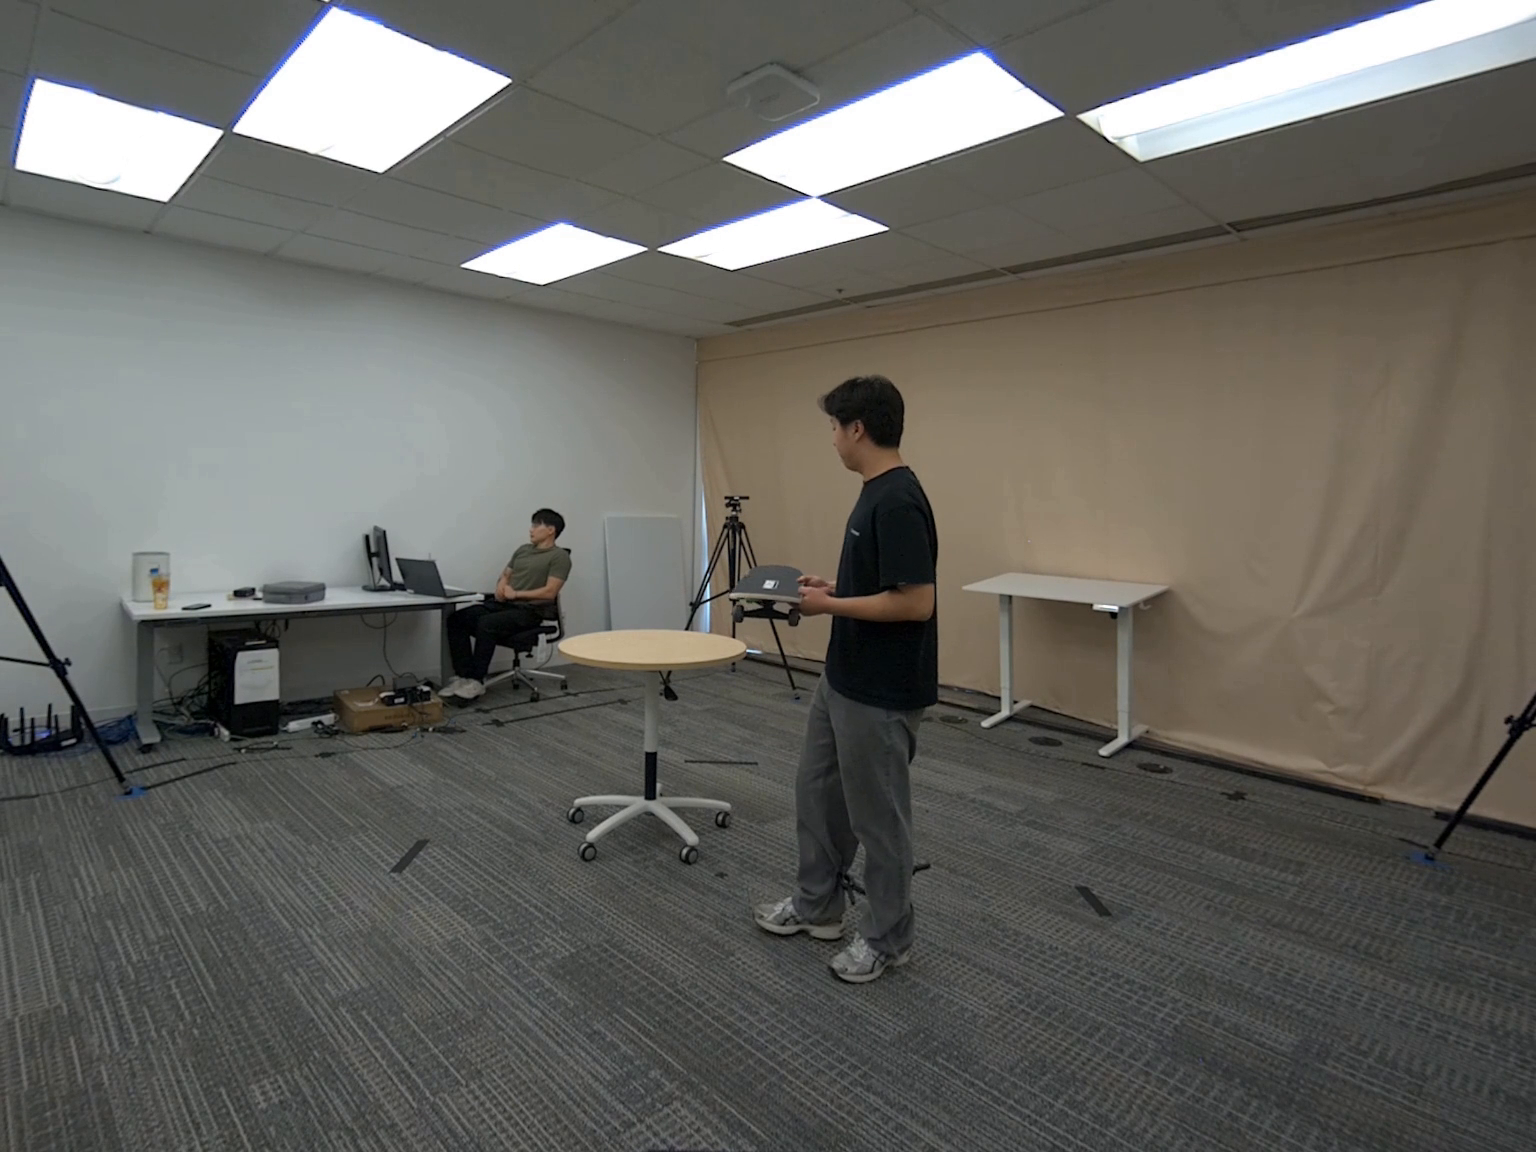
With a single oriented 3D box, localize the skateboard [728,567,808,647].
[{"bbox_3d":[0.008,0.073,2.526,0.194,0.110,0.786,6,6,1],"label":"skateboard"}]
